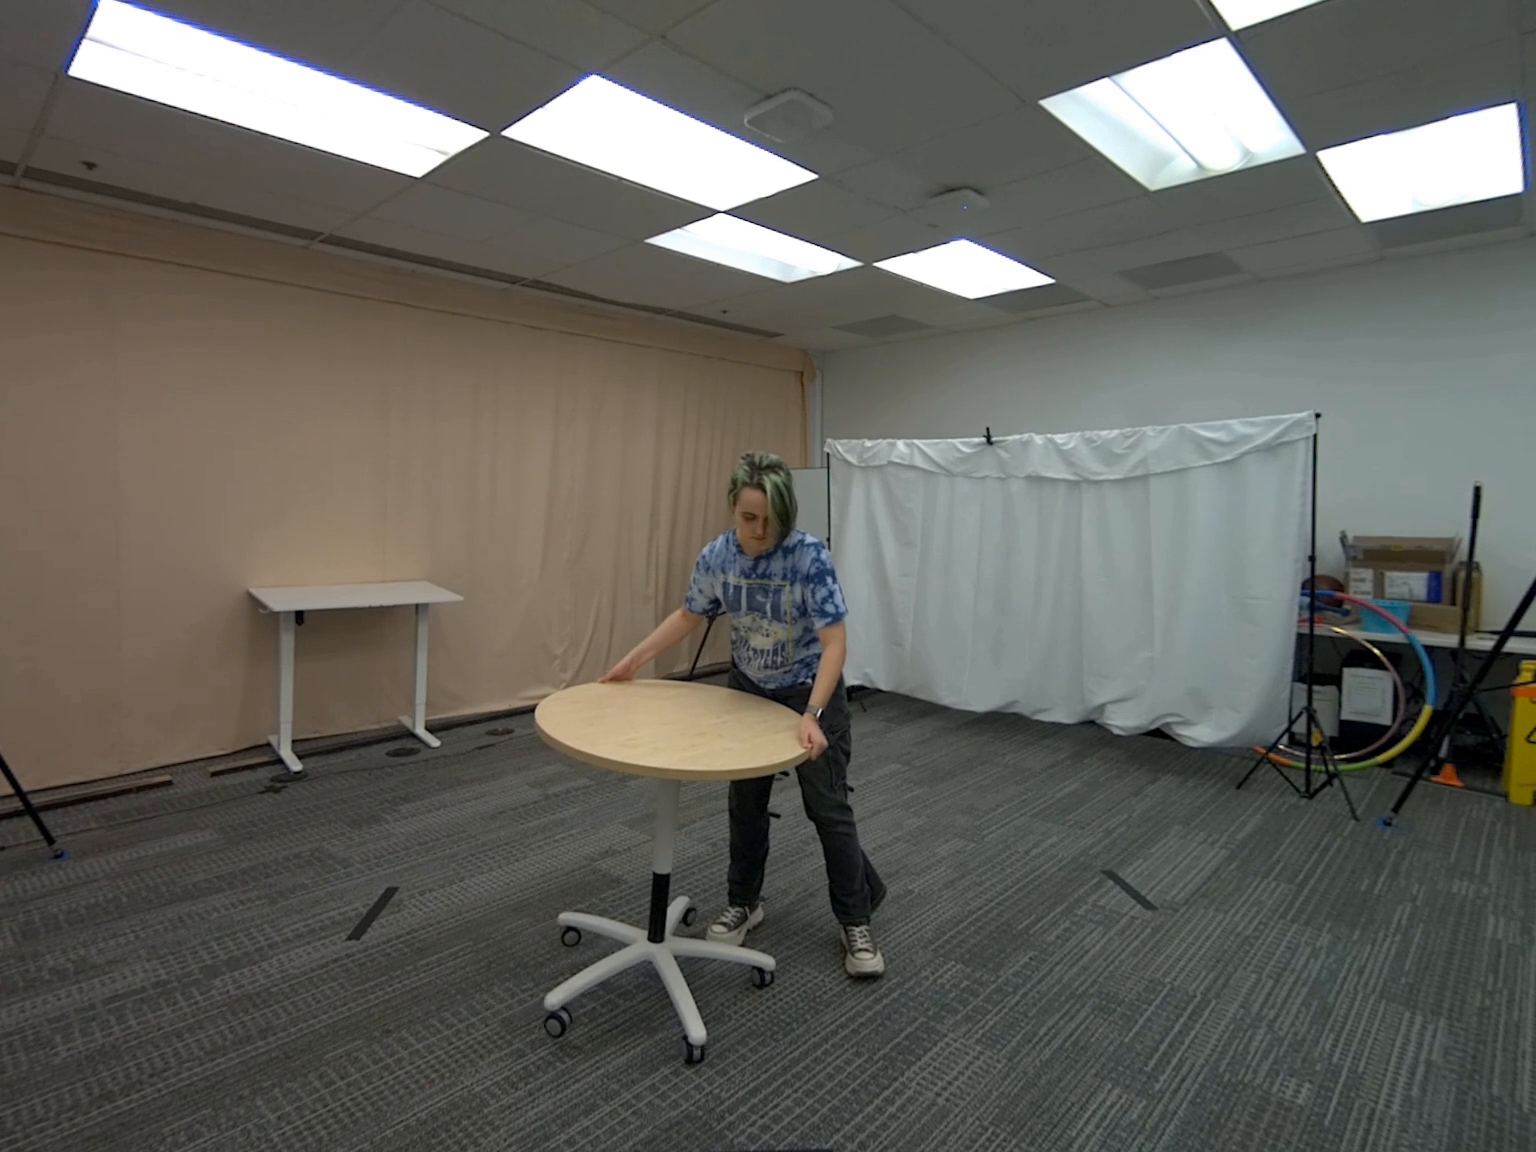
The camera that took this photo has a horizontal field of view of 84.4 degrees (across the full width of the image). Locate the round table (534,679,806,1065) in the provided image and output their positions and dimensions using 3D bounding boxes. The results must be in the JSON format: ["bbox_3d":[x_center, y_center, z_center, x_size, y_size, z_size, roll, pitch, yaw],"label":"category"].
[{"bbox_3d":[-0.295,0.786,2.351,0.763,0.791,0.768,5,7,-2],"label":"round table"}]
